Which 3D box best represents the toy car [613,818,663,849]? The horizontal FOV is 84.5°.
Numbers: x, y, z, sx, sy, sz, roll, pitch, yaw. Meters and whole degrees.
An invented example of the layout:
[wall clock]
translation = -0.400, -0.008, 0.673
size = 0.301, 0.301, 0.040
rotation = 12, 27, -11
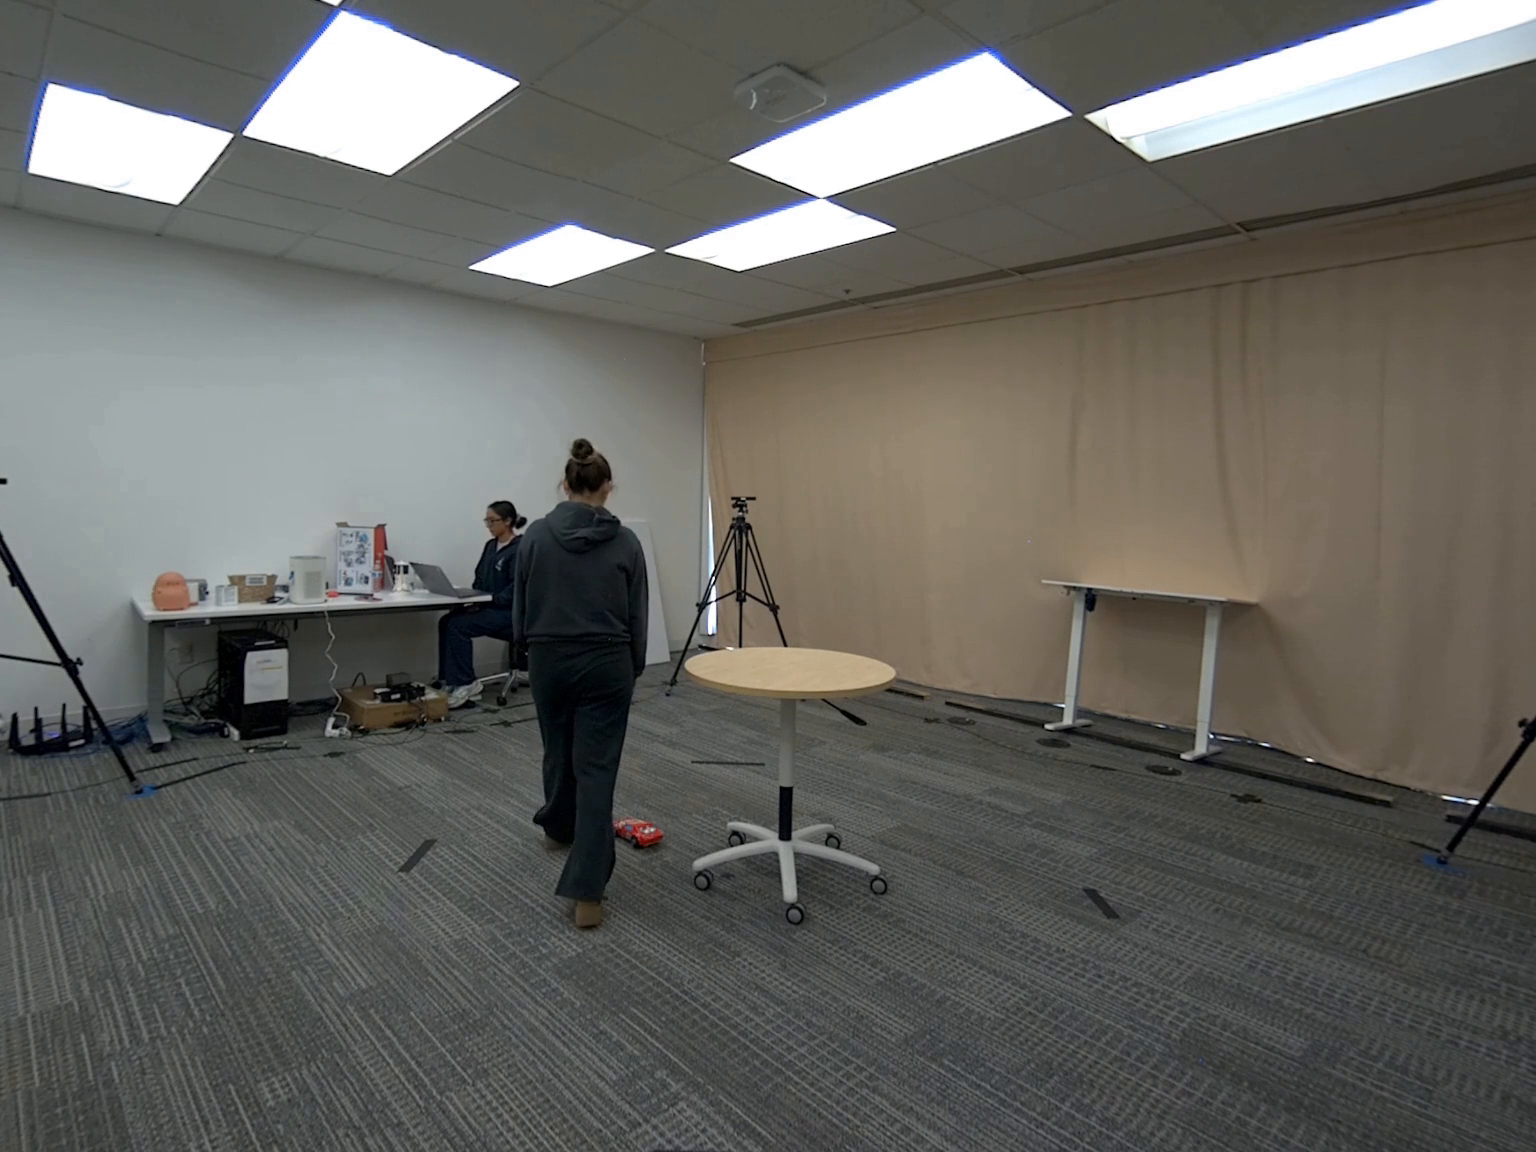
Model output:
[toy car]
translation = -0.537, 1.040, 3.412
size = 0.127, 0.083, 0.259
rotation = -2, -4, -43
